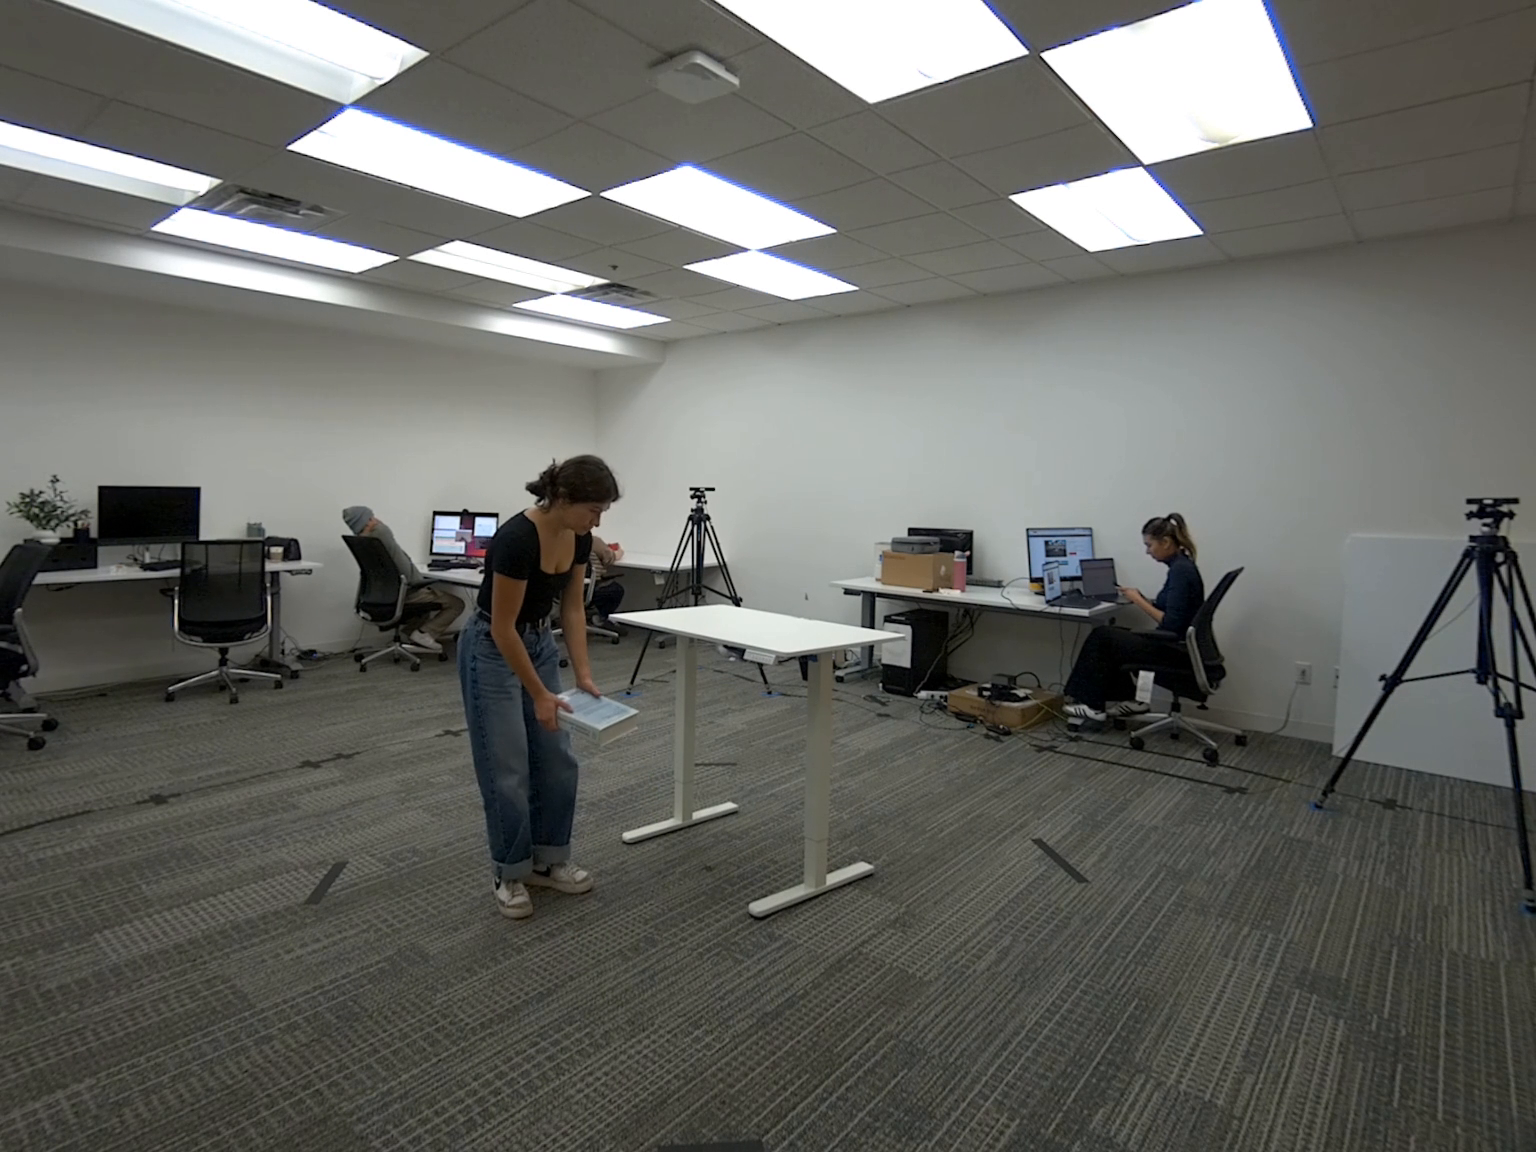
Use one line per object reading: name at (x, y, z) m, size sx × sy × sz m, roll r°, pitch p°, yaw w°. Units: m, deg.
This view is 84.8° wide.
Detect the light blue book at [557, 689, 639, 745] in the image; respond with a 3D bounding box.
light blue book at (-0.577, 0.449, 2.682) m, size 0.269 × 0.058 × 0.187 m, roll 13°, pitch 15°, yaw 27°
